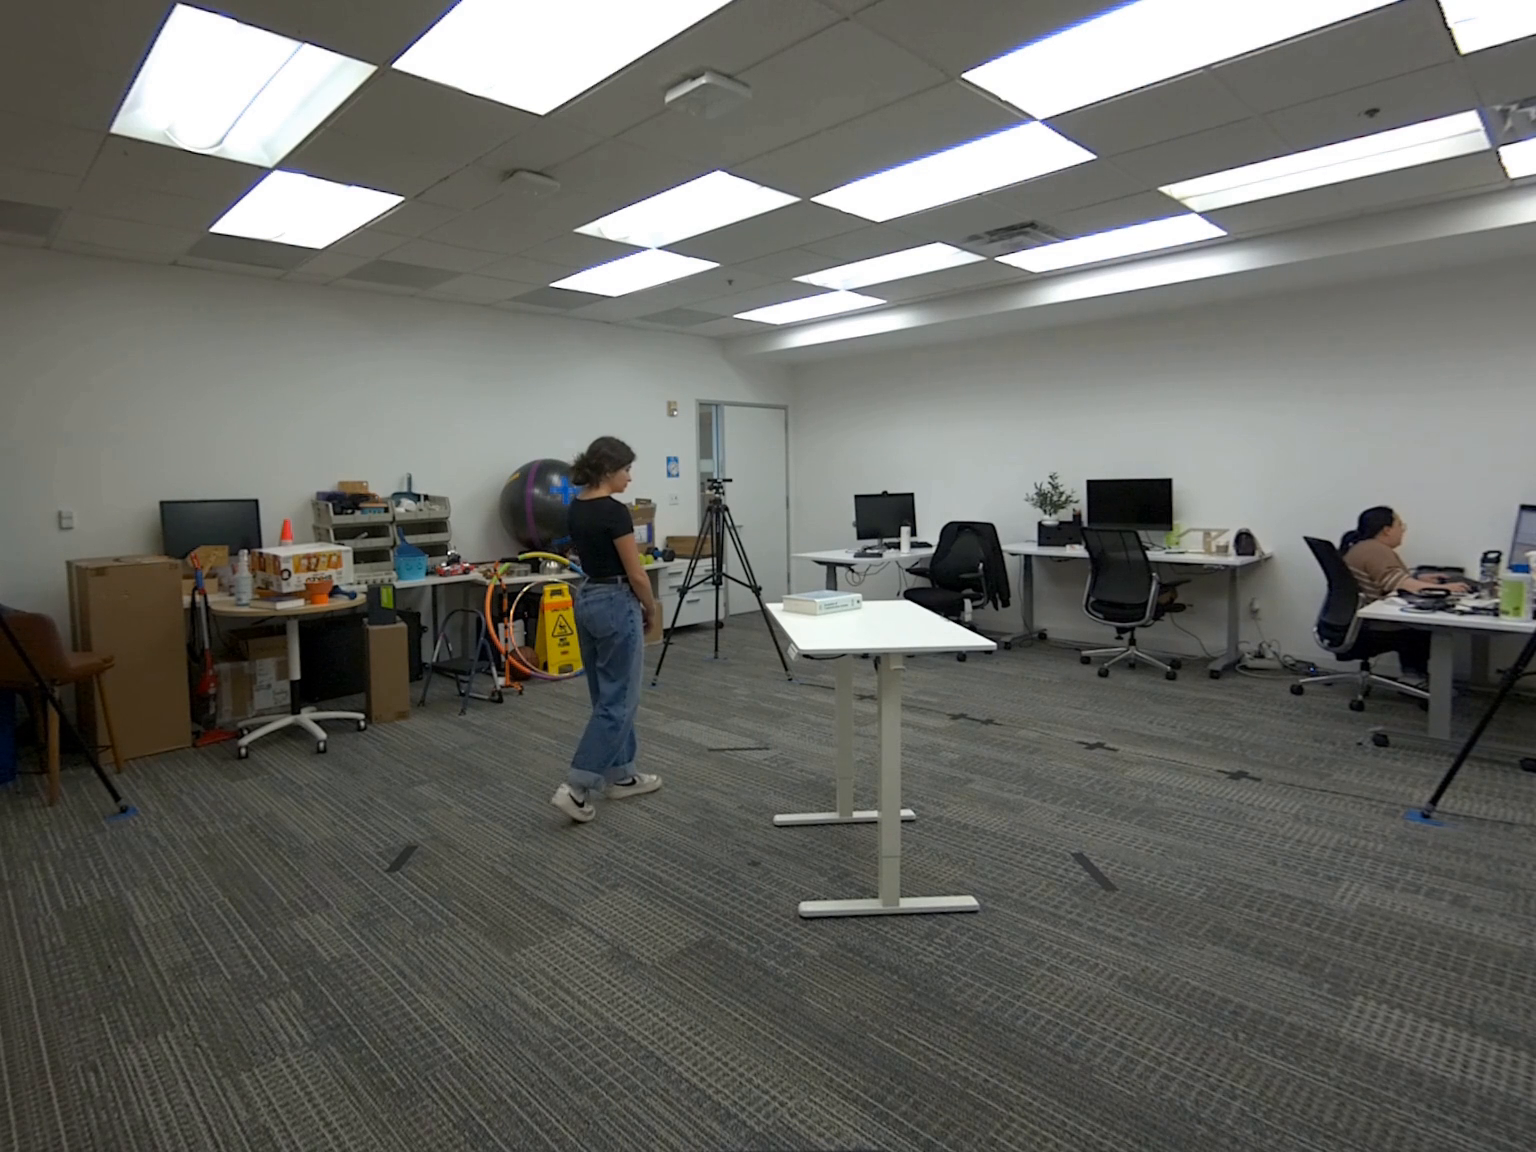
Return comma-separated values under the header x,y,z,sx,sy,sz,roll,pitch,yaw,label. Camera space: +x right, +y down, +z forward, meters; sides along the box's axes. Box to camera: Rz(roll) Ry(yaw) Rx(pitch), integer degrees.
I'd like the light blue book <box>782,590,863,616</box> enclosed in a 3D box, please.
x,y,z,sx,sy,sz,roll,pitch,yaw,label
0.215,0.103,3.353,0.254,0.059,0.197,-6,8,-43,light blue book
